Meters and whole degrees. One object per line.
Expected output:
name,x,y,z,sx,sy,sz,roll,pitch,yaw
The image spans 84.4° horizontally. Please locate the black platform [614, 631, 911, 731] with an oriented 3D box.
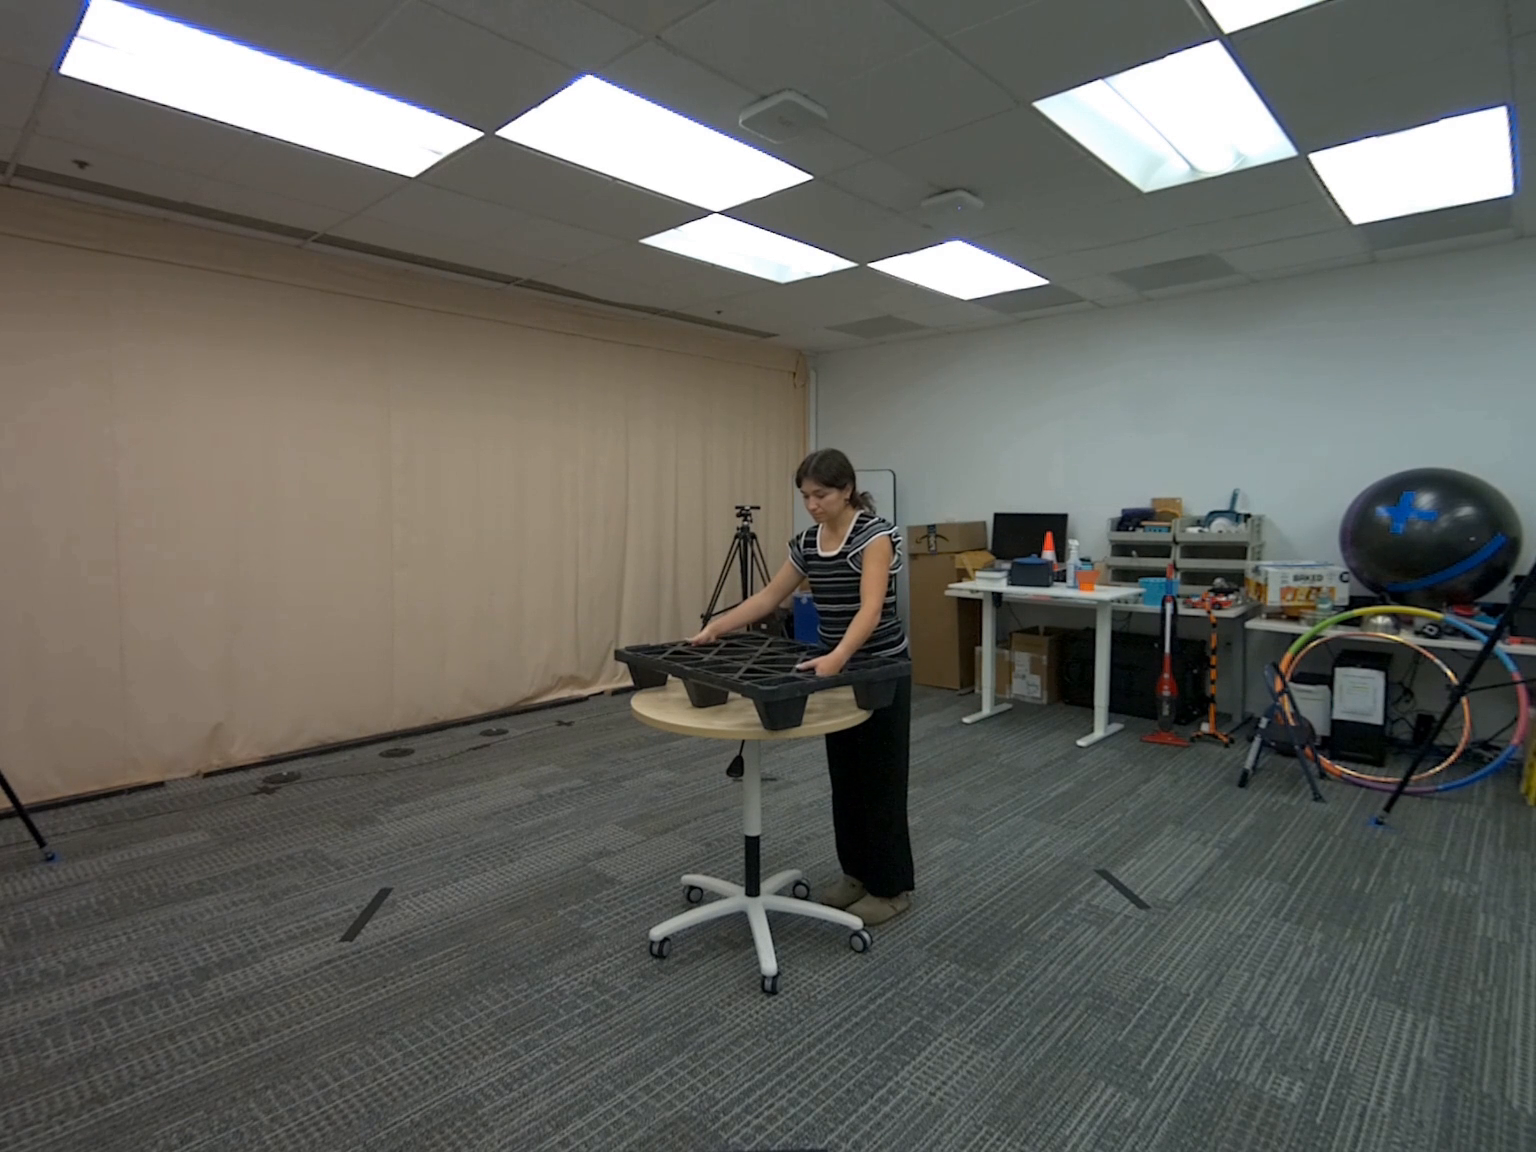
black platform,-0.033,0.322,2.696,0.587,0.143,0.832,-6,7,-38
